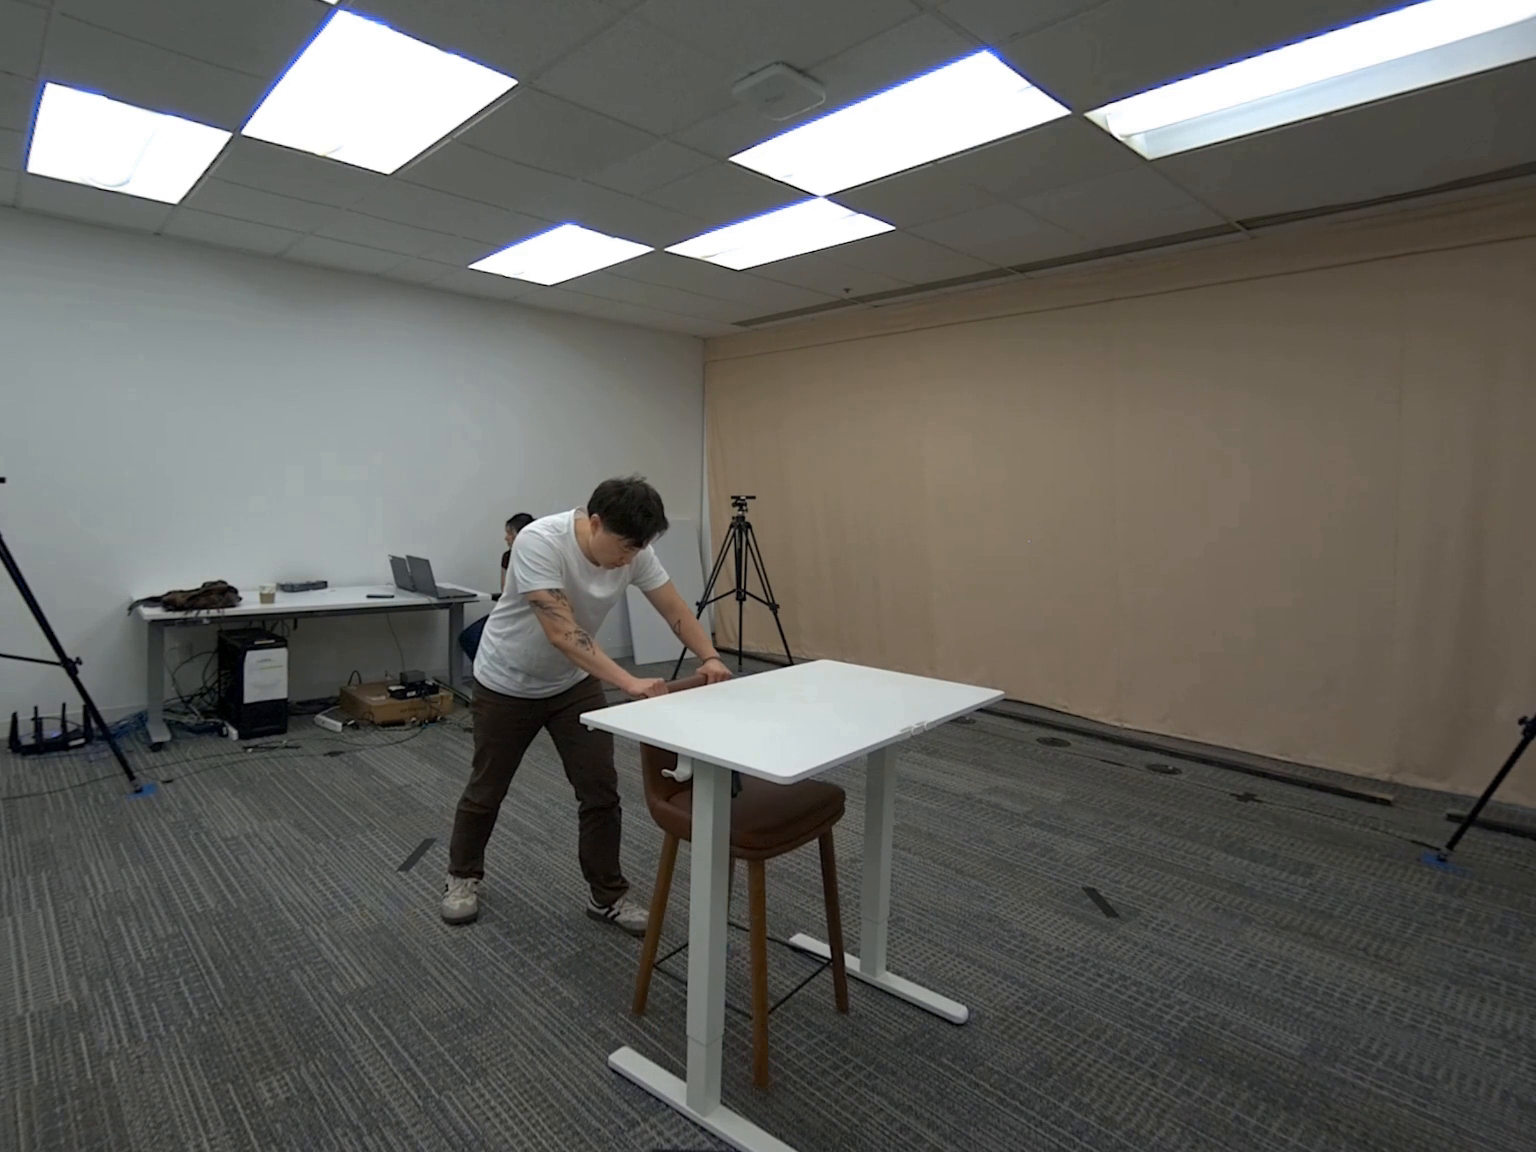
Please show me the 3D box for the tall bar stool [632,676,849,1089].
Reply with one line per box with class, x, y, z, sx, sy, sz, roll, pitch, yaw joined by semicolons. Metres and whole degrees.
tall bar stool;-0.085;0.749;2.246;0.478;0.888;0.446;1;3;37
